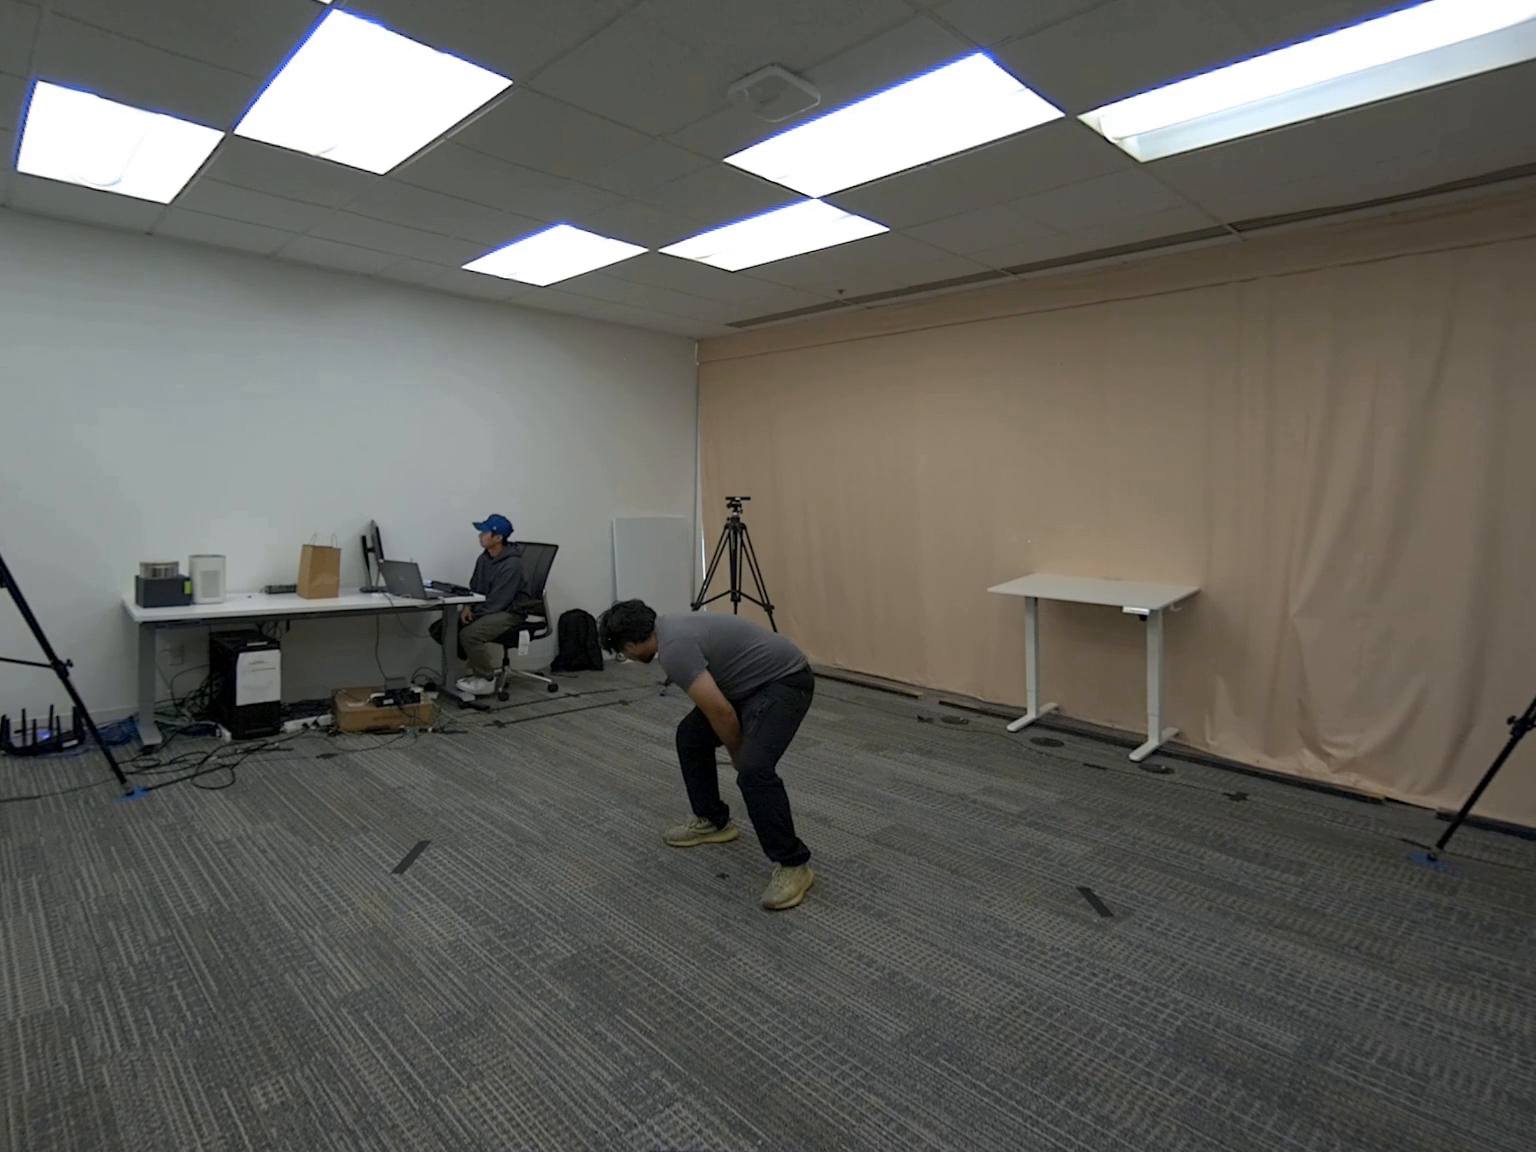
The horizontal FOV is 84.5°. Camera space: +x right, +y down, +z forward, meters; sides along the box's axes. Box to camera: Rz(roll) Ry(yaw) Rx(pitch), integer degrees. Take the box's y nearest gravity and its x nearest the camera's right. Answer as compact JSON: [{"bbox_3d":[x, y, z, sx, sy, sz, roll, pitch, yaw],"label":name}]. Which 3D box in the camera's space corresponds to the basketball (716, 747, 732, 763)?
[{"bbox_3d":[-0.184,0.594,3.550,0.236,0.235,0.237,1,4,-1],"label":"basketball"}]
